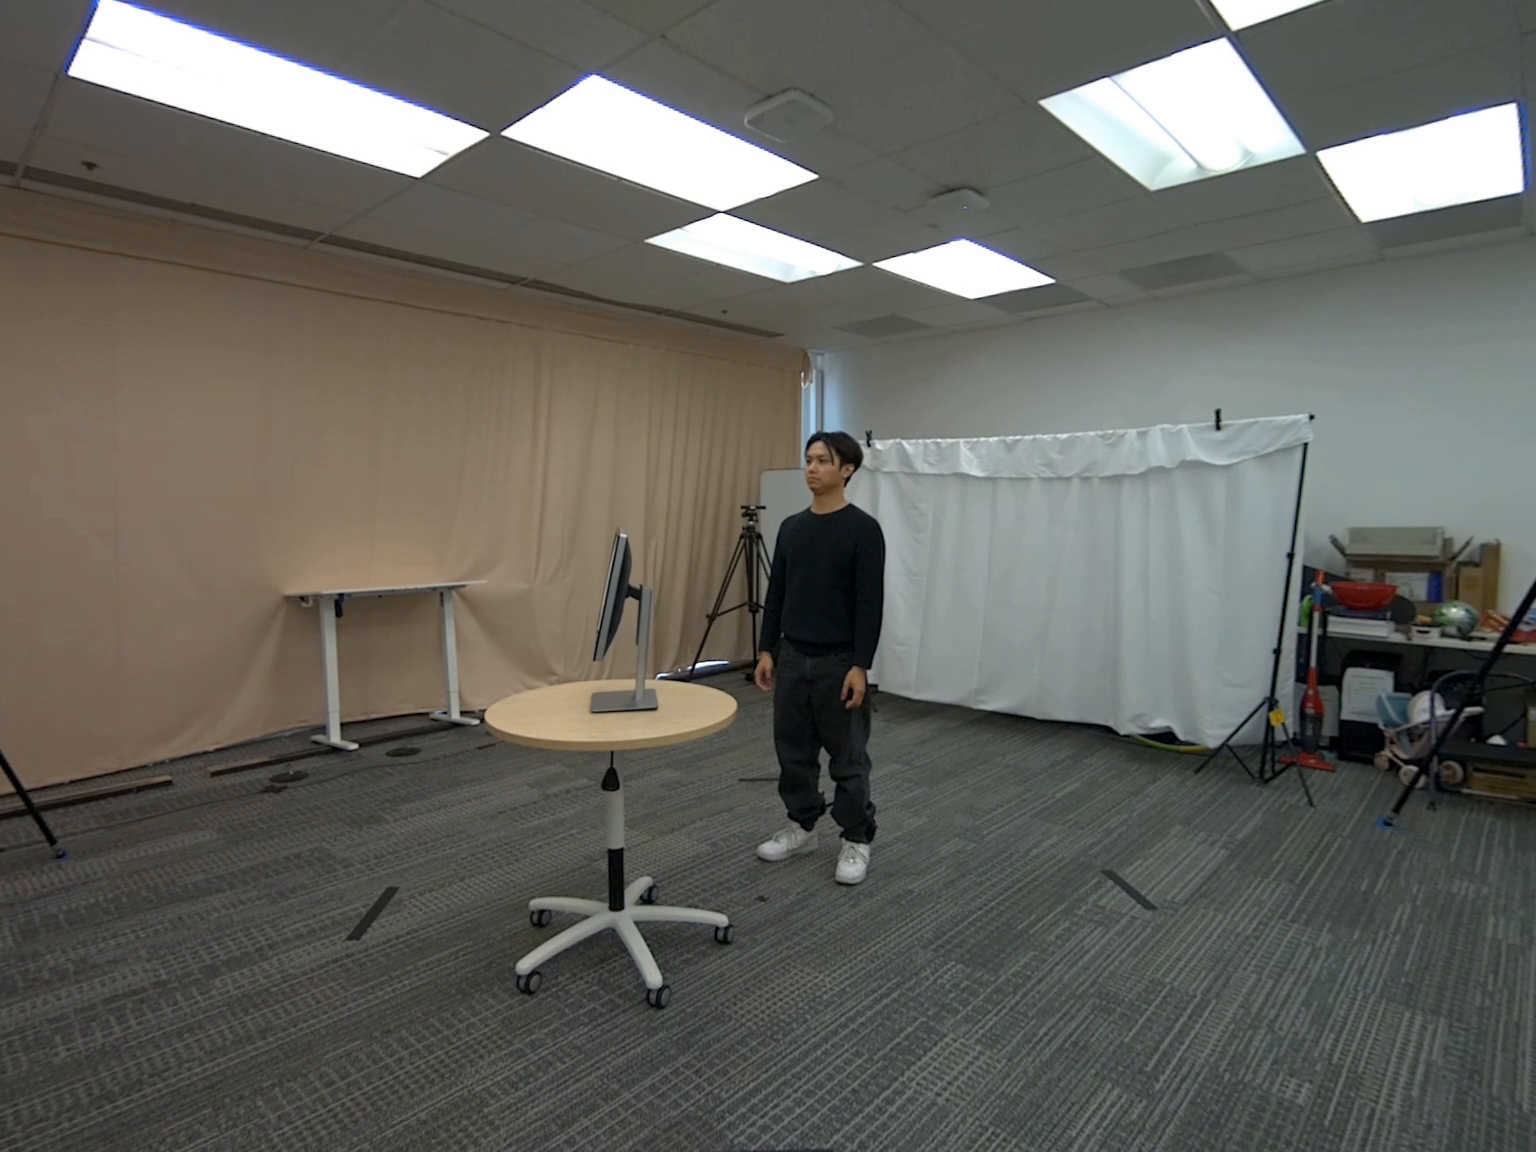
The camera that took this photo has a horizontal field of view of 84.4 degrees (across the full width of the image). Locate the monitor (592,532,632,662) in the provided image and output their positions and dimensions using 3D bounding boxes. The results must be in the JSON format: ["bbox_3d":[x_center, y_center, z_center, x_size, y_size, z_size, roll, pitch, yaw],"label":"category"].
[{"bbox_3d":[-0.453,0.130,2.620,0.173,0.514,0.537,-4,5,-11],"label":"monitor"}]
